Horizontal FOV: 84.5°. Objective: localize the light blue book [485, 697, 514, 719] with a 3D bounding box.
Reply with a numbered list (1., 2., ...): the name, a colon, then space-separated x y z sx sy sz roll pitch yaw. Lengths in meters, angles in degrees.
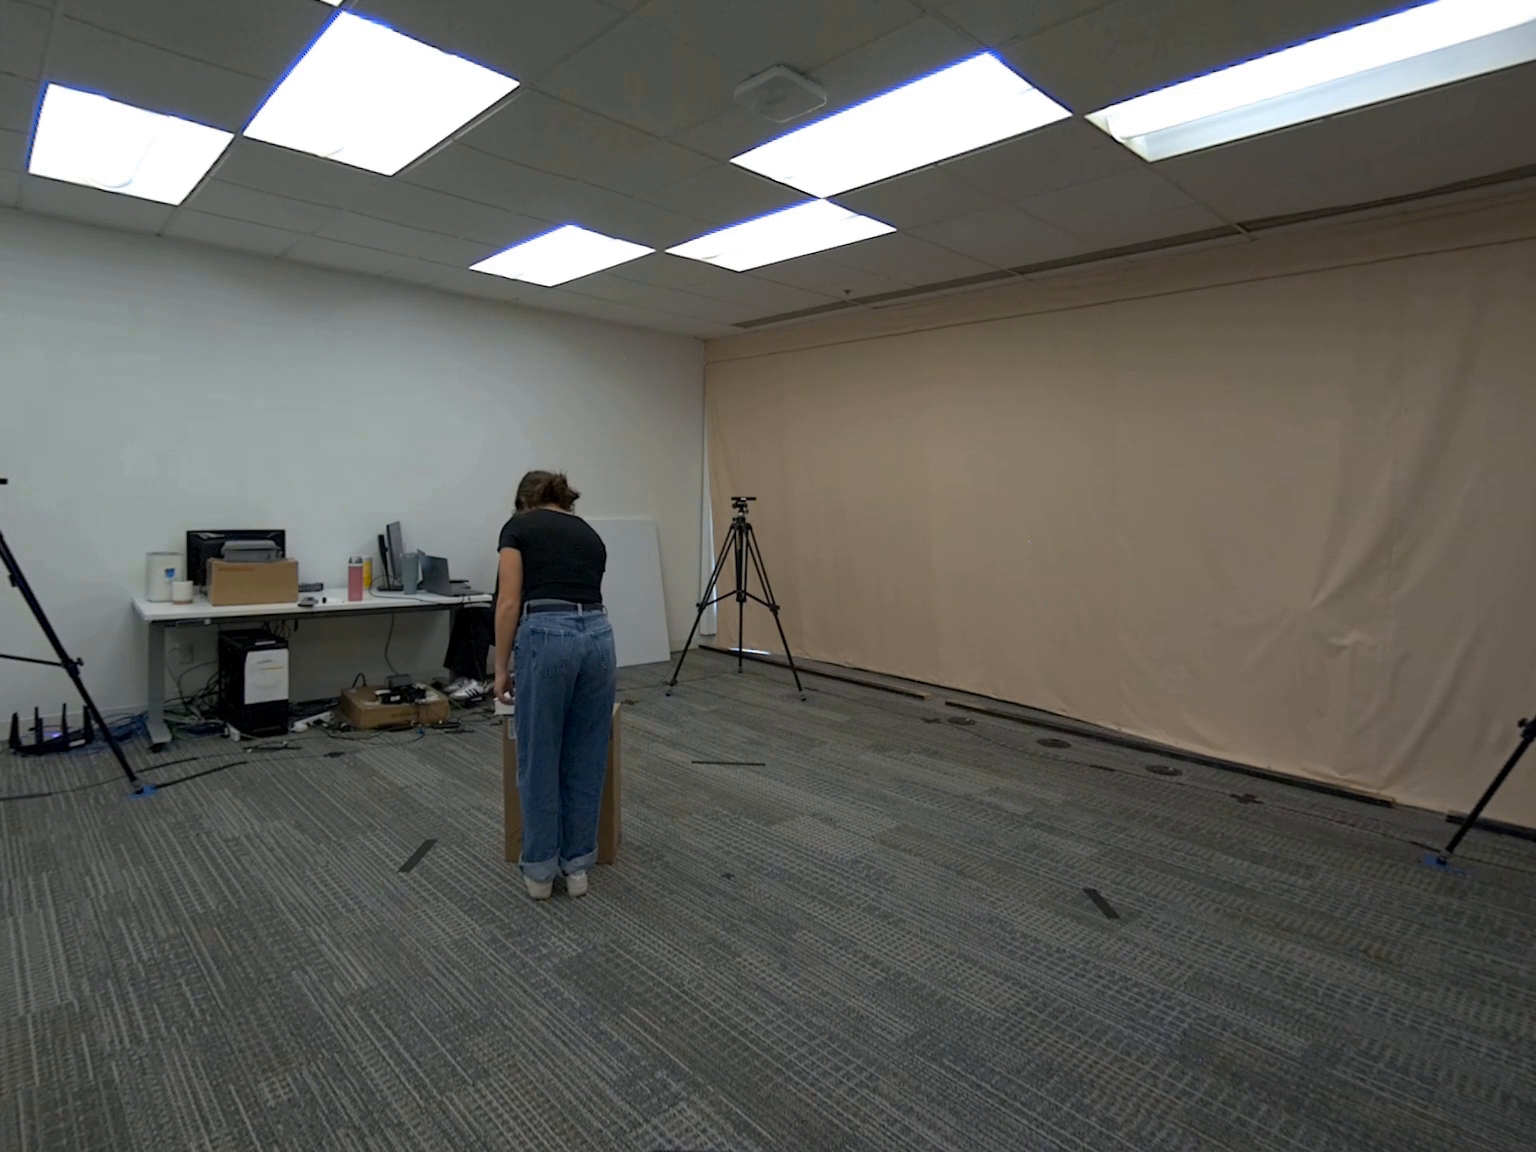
1. light blue book: -0.937 0.480 3.257 0.193 0.059 0.260 -4 5 10
